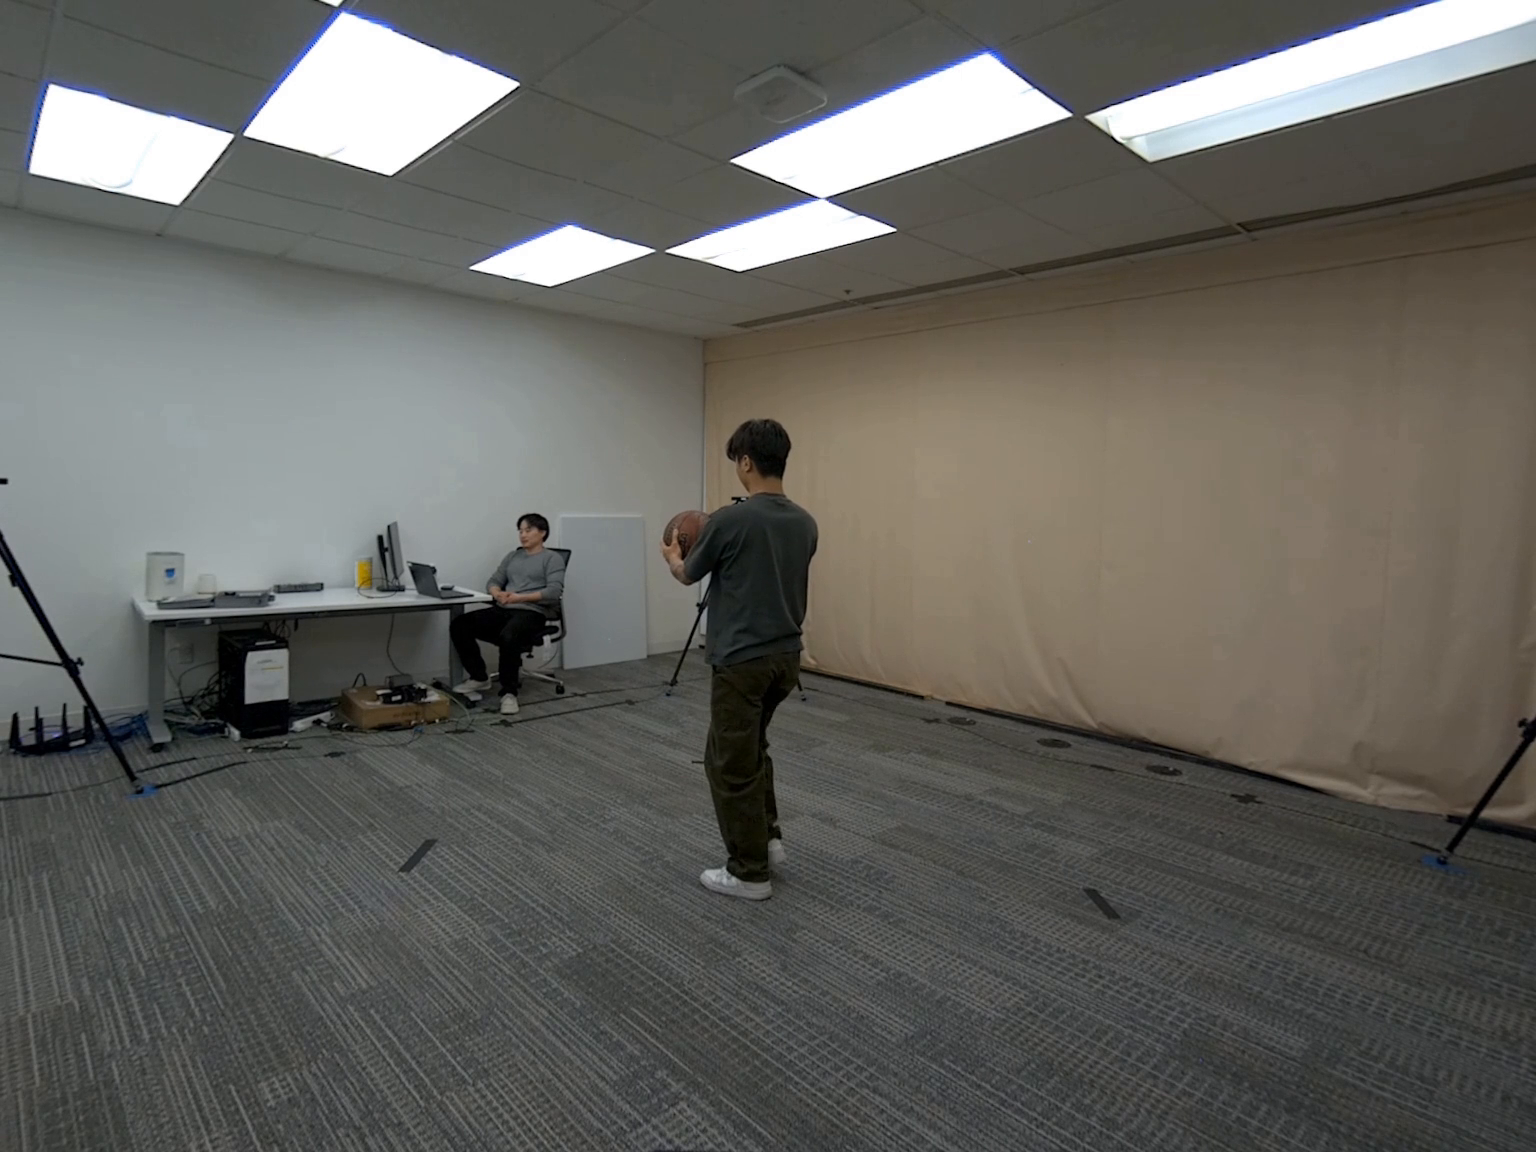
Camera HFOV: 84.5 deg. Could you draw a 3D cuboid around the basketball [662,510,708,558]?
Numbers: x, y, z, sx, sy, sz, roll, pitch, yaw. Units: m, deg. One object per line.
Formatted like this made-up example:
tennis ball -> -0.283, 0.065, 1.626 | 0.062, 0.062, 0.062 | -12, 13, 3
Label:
basketball -> -0.301, -0.143, 3.350 | 0.236, 0.235, 0.237 | 1, 4, -1
